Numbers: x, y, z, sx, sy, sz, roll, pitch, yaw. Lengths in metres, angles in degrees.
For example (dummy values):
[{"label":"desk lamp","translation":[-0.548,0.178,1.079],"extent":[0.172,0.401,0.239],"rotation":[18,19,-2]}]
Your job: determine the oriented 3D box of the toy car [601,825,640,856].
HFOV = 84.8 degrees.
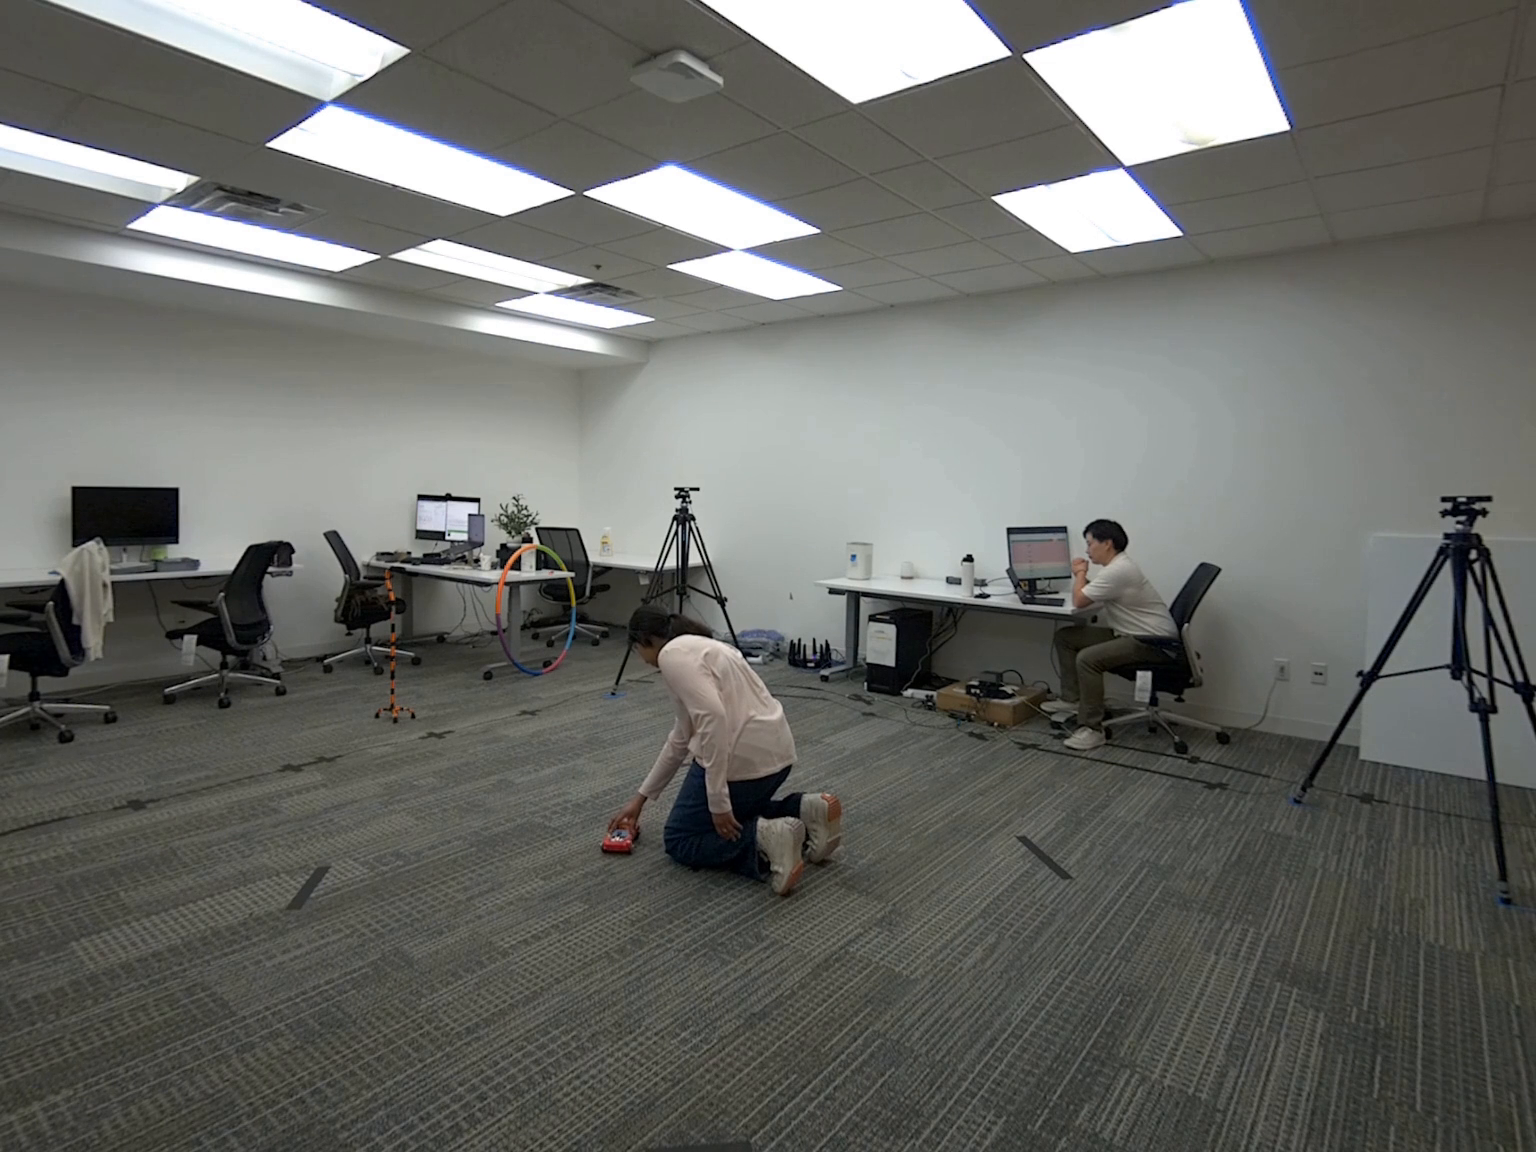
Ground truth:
[{"label":"toy car","translation":[-0.578,1.008,3.338],"extent":[0.131,0.082,0.257],"rotation":[1,16,2]}]
